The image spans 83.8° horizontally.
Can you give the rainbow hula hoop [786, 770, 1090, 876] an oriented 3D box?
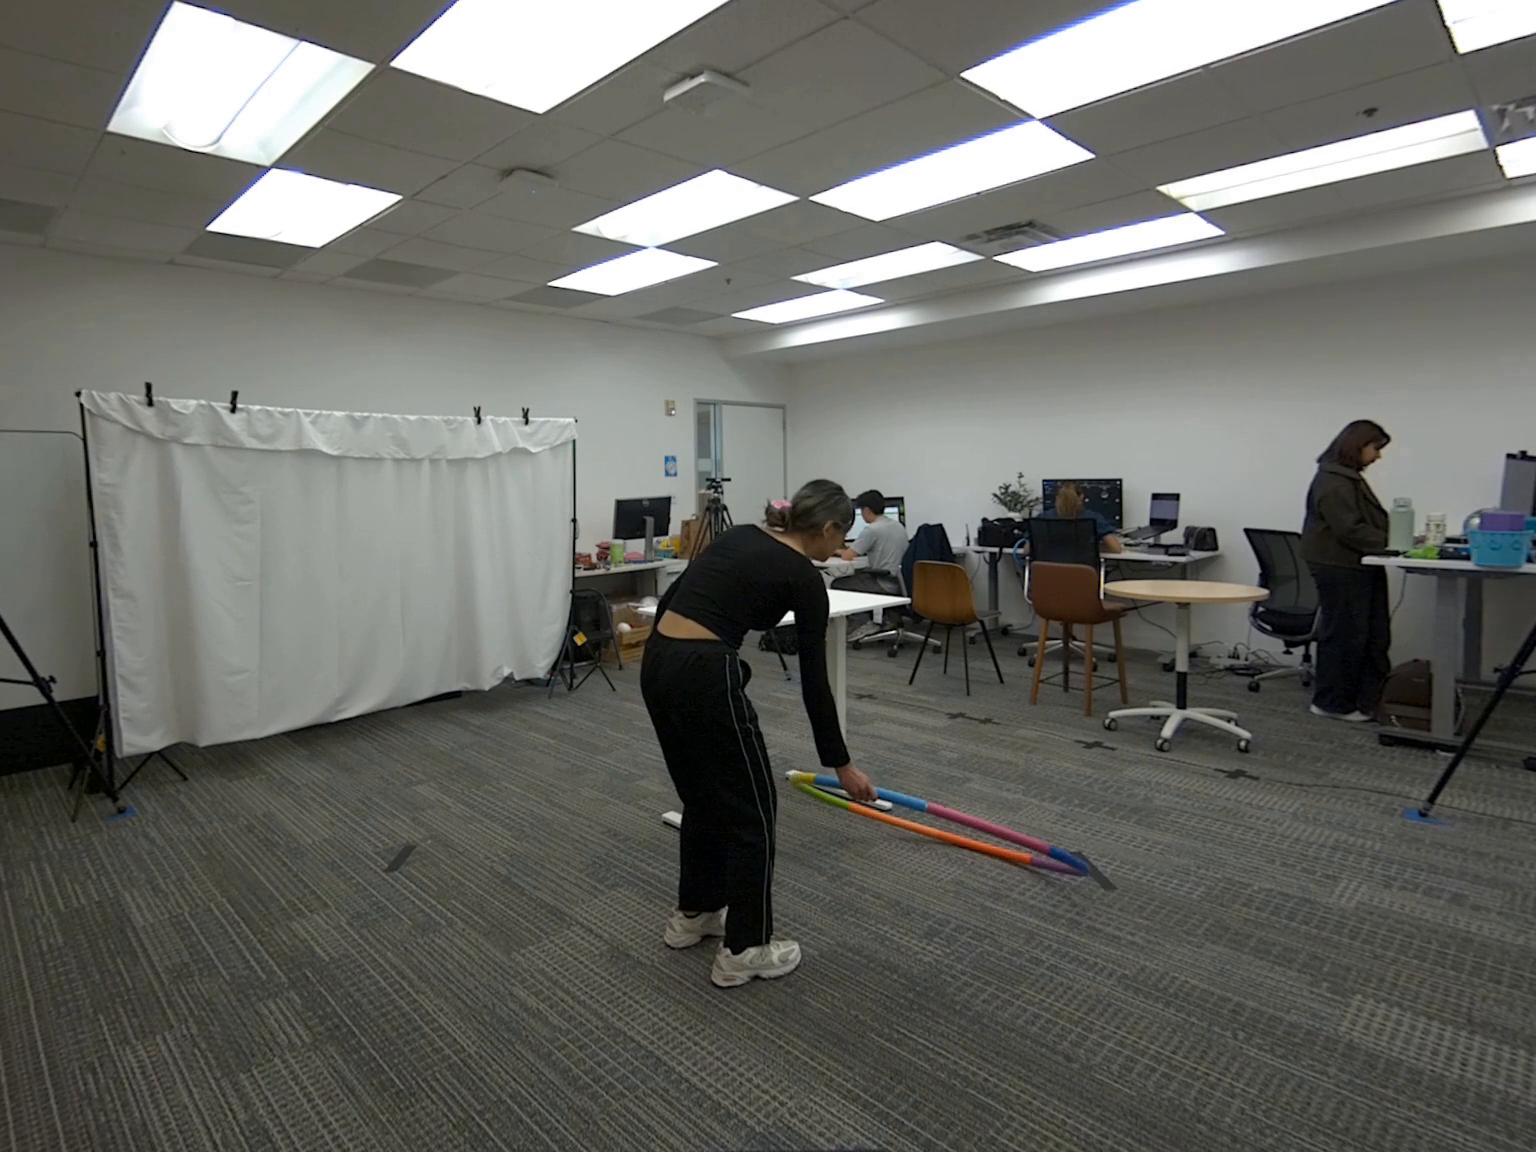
[{"bbox_3d":[0.558,0.825,2.825,0.984,0.036,0.964,17,-16,4],"label":"rainbow hula hoop"}]
